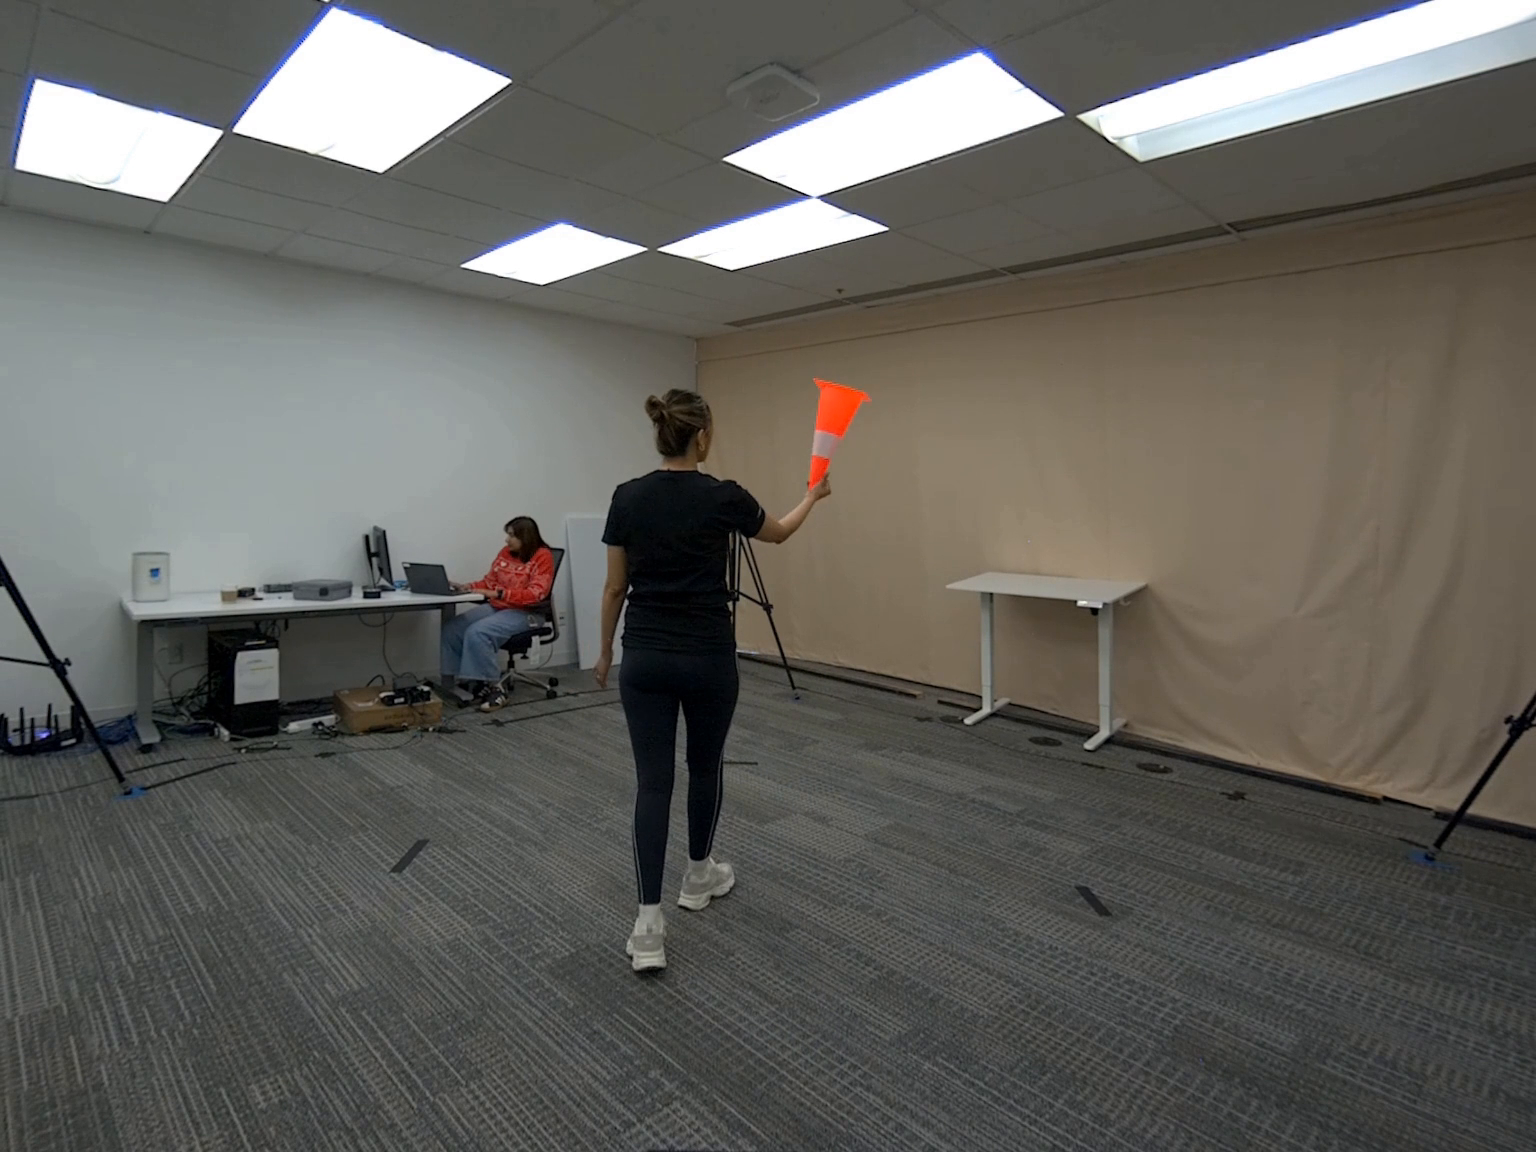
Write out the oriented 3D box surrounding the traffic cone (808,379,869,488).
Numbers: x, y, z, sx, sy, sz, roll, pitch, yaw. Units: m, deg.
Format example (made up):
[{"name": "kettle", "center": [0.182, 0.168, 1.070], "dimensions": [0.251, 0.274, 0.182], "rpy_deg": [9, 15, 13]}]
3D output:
[{"name": "traffic cone", "center": [0.203, -0.498, 3.076], "dimensions": [0.206, 0.383, 0.202], "rpy_deg": [16, 3, 14]}]
